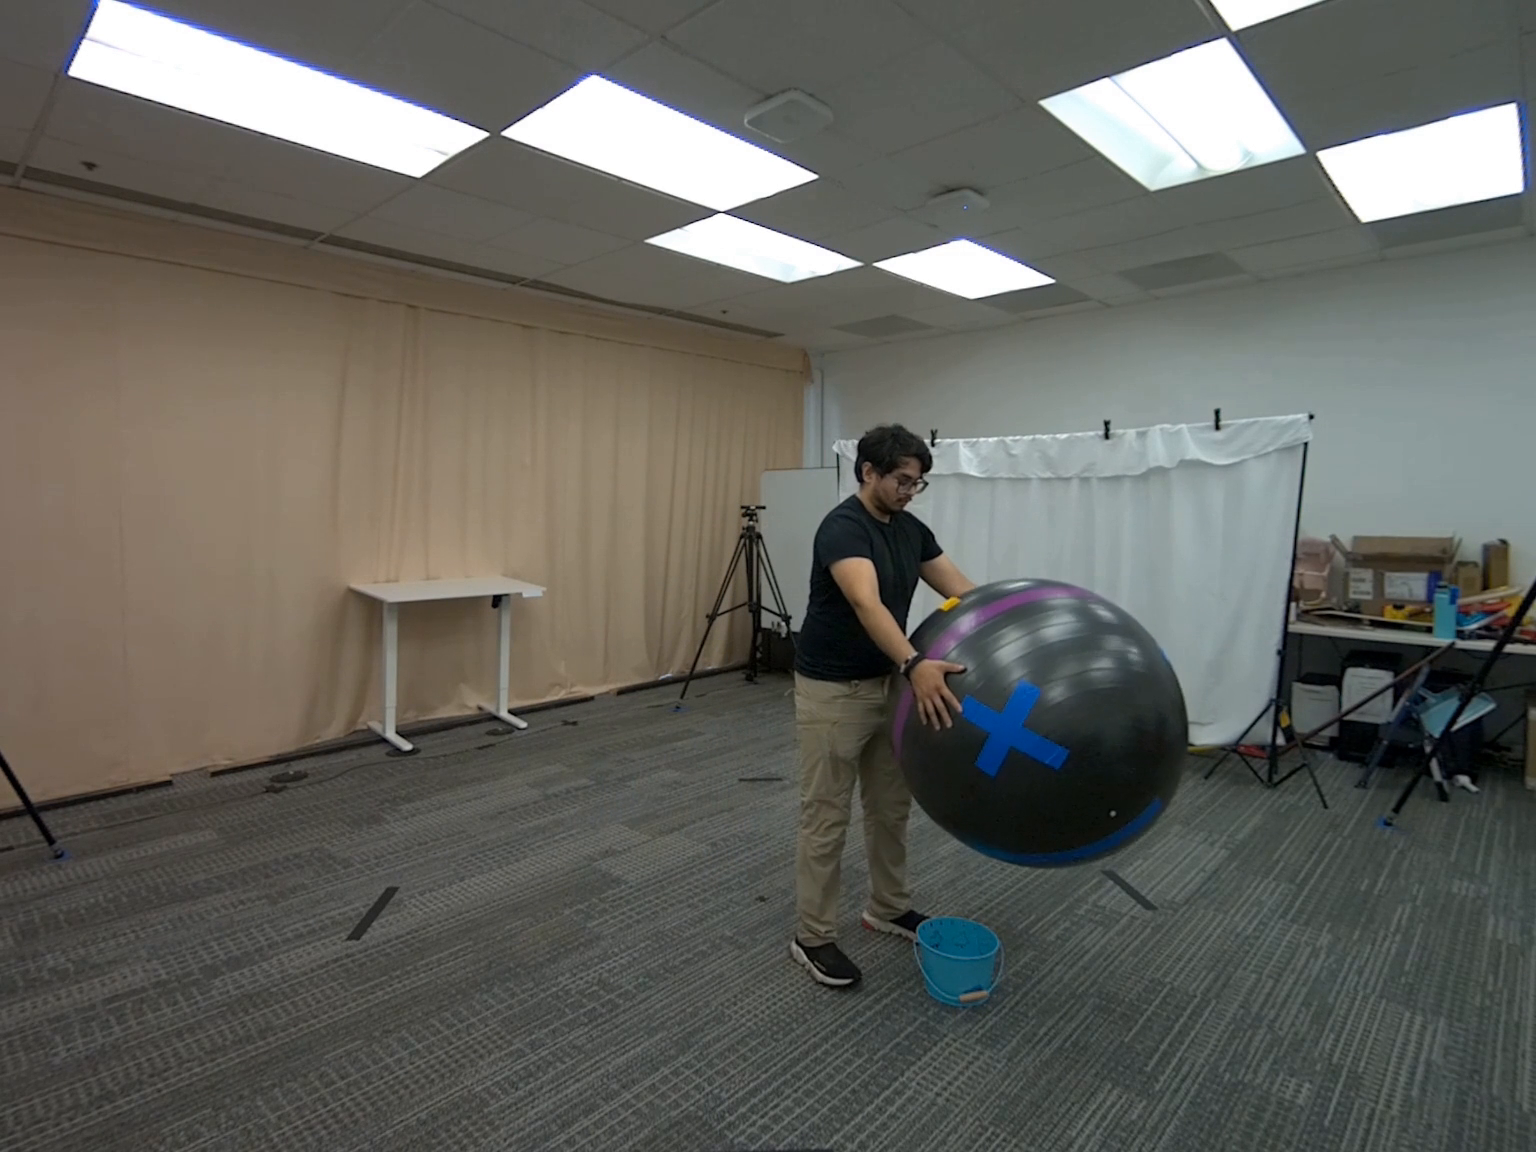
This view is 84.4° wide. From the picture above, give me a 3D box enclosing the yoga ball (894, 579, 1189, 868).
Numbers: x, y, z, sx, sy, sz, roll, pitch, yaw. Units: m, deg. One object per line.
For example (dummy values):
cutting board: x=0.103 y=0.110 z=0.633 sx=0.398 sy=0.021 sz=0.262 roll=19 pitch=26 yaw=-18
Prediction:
yoga ball: x=0.719 y=0.396 z=2.265 sx=0.757 sy=0.756 sz=0.760 roll=0 pitch=4 yaw=-2
